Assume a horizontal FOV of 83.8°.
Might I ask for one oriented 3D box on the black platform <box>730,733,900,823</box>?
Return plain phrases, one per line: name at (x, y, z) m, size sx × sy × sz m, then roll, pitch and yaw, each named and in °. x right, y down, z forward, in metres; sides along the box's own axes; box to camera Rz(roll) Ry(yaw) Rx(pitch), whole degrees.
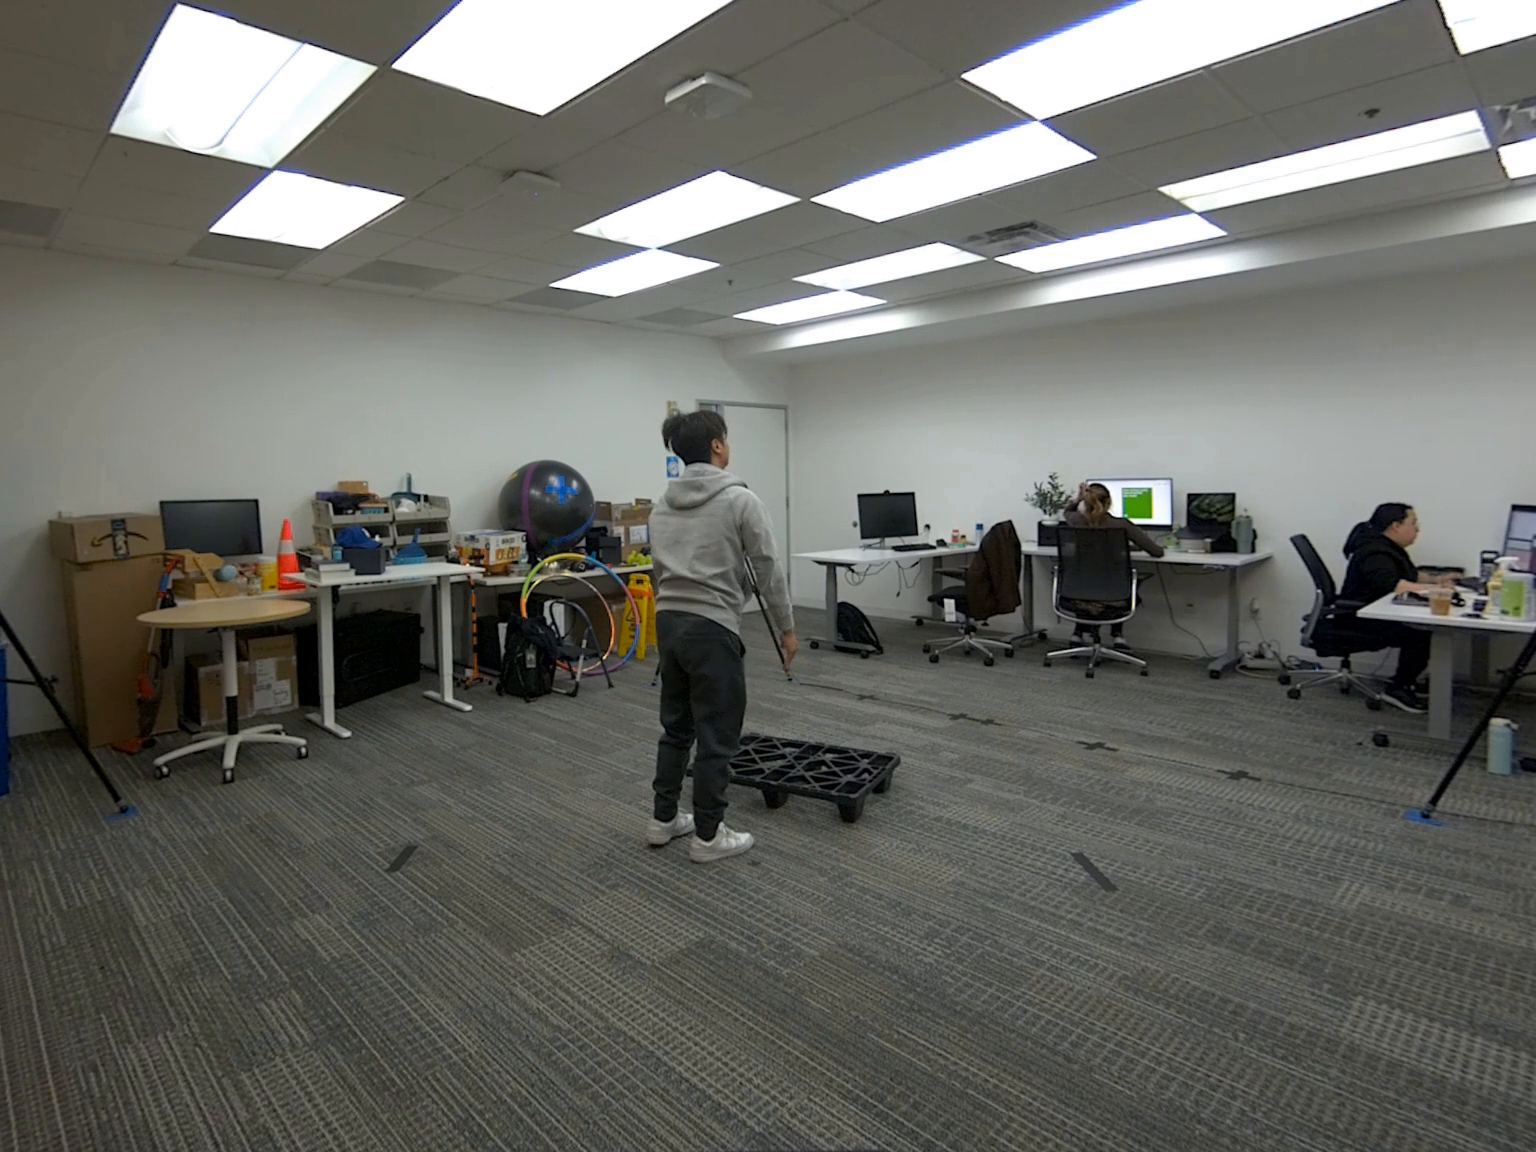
black platform at (0.118, 0.892, 3.829) m, size 0.826 × 0.143 × 0.592 m, roll 3°, pitch 6°, yaw 28°
